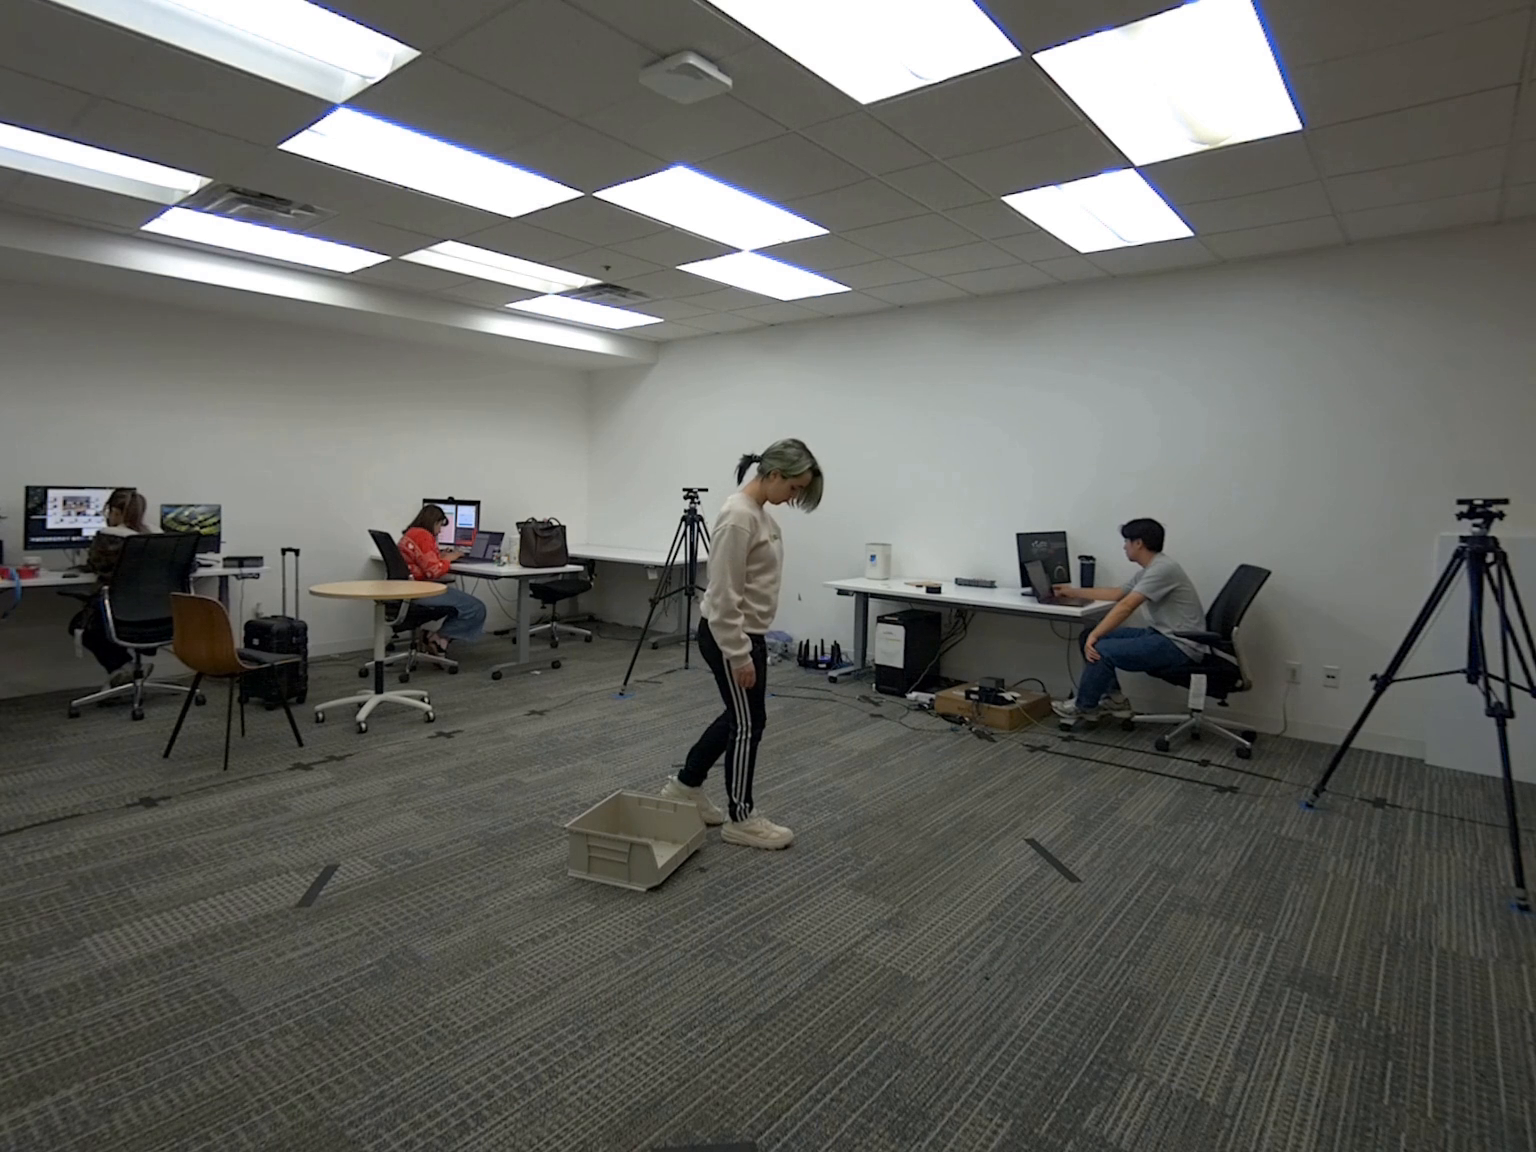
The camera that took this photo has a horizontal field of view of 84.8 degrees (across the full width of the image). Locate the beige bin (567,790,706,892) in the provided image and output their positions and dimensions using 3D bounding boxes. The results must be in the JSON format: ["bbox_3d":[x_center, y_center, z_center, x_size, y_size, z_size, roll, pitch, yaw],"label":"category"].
[{"bbox_3d":[-0.494,0.972,3.154,0.385,0.188,0.415,2,5,20],"label":"beige bin"}]
